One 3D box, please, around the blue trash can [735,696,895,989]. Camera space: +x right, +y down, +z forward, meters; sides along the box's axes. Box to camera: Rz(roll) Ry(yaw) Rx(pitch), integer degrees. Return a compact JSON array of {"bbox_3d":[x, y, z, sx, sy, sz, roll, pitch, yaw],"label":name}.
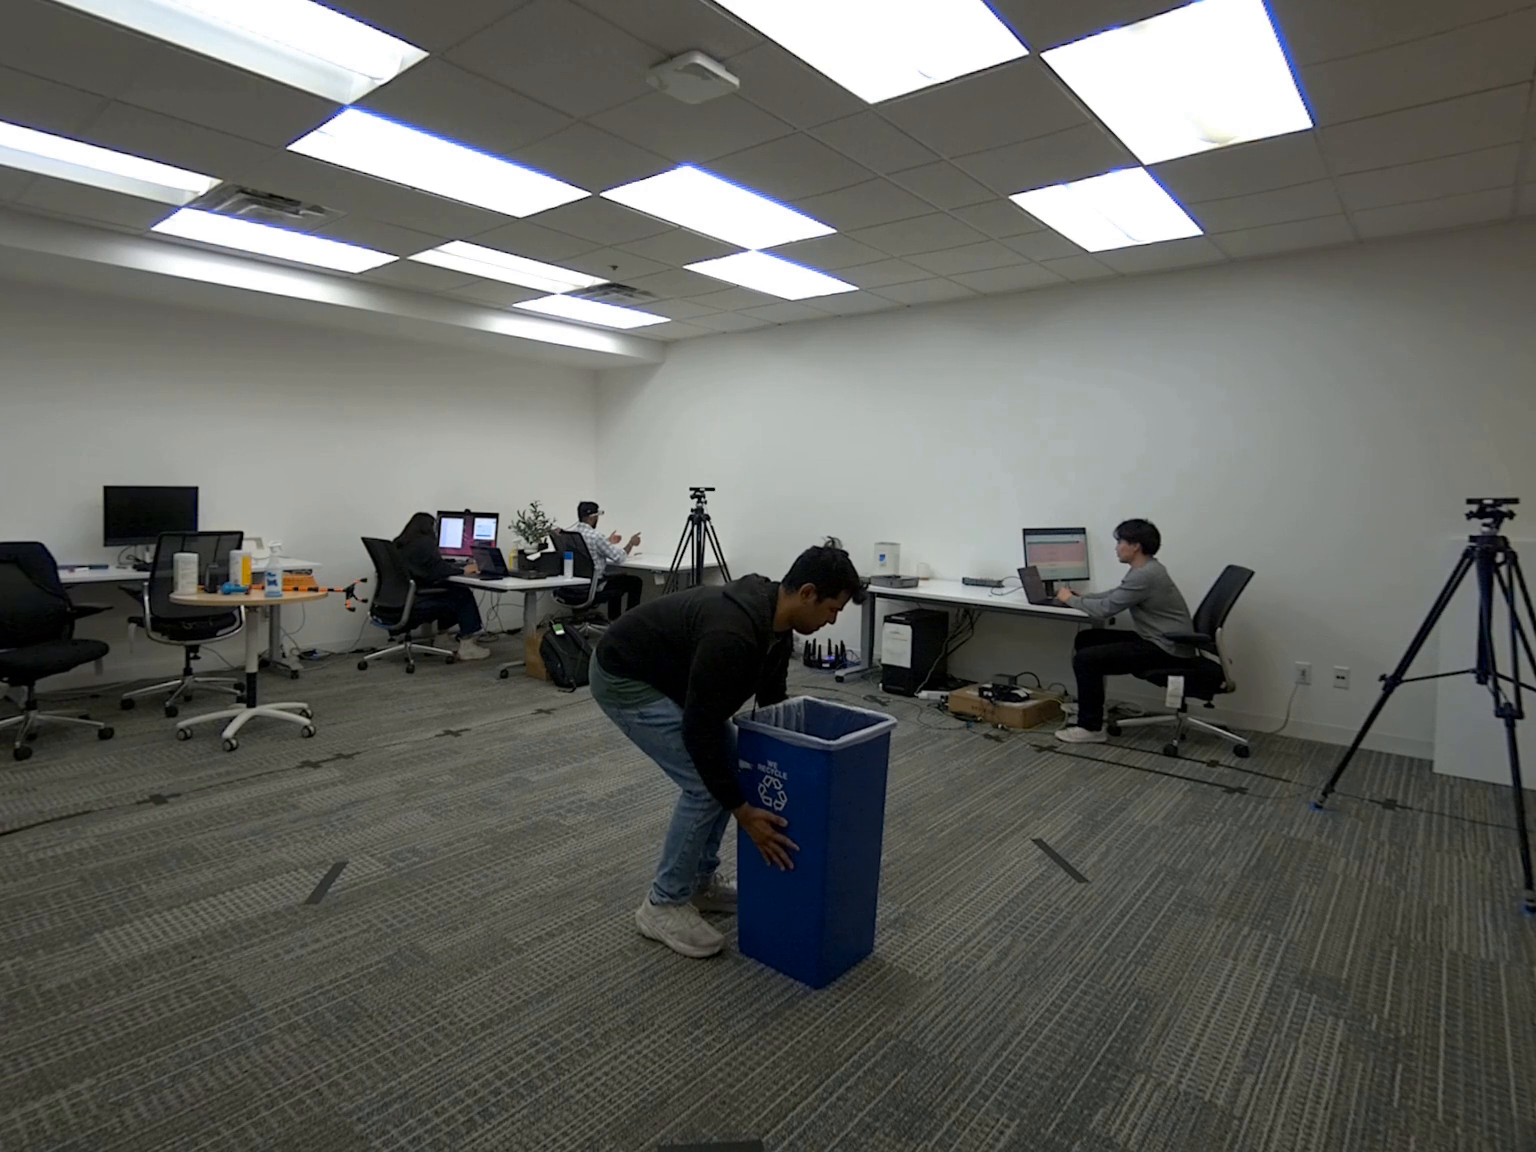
[{"bbox_3d":[0.131,0.768,2.543,0.386,0.711,0.367,4,4,38],"label":"blue trash can"}]
